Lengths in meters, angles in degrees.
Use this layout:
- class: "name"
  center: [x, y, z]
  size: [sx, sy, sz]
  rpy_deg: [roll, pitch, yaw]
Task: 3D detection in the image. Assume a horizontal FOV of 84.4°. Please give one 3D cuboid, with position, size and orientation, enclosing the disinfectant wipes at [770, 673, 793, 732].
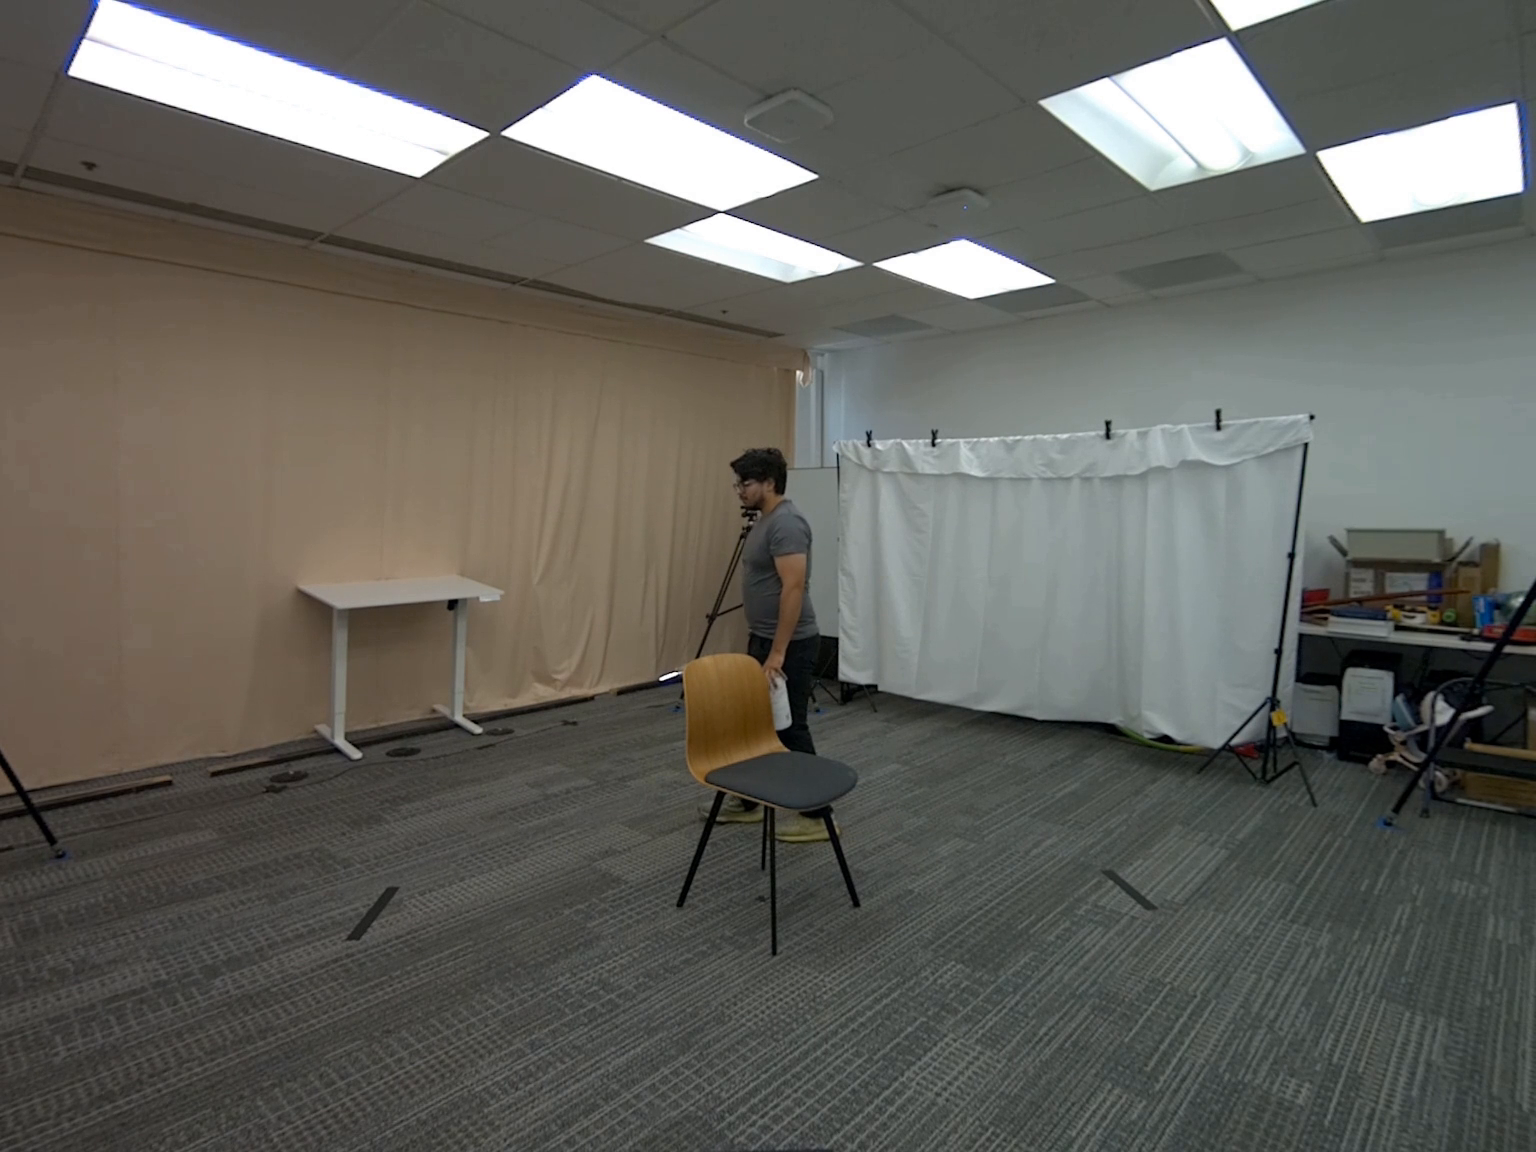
- class: "disinfectant wipes"
  center: [0.024, 0.489, 3.341]
  size: [0.118, 0.215, 0.119]
  rpy_deg: [-7, 12, 0]
